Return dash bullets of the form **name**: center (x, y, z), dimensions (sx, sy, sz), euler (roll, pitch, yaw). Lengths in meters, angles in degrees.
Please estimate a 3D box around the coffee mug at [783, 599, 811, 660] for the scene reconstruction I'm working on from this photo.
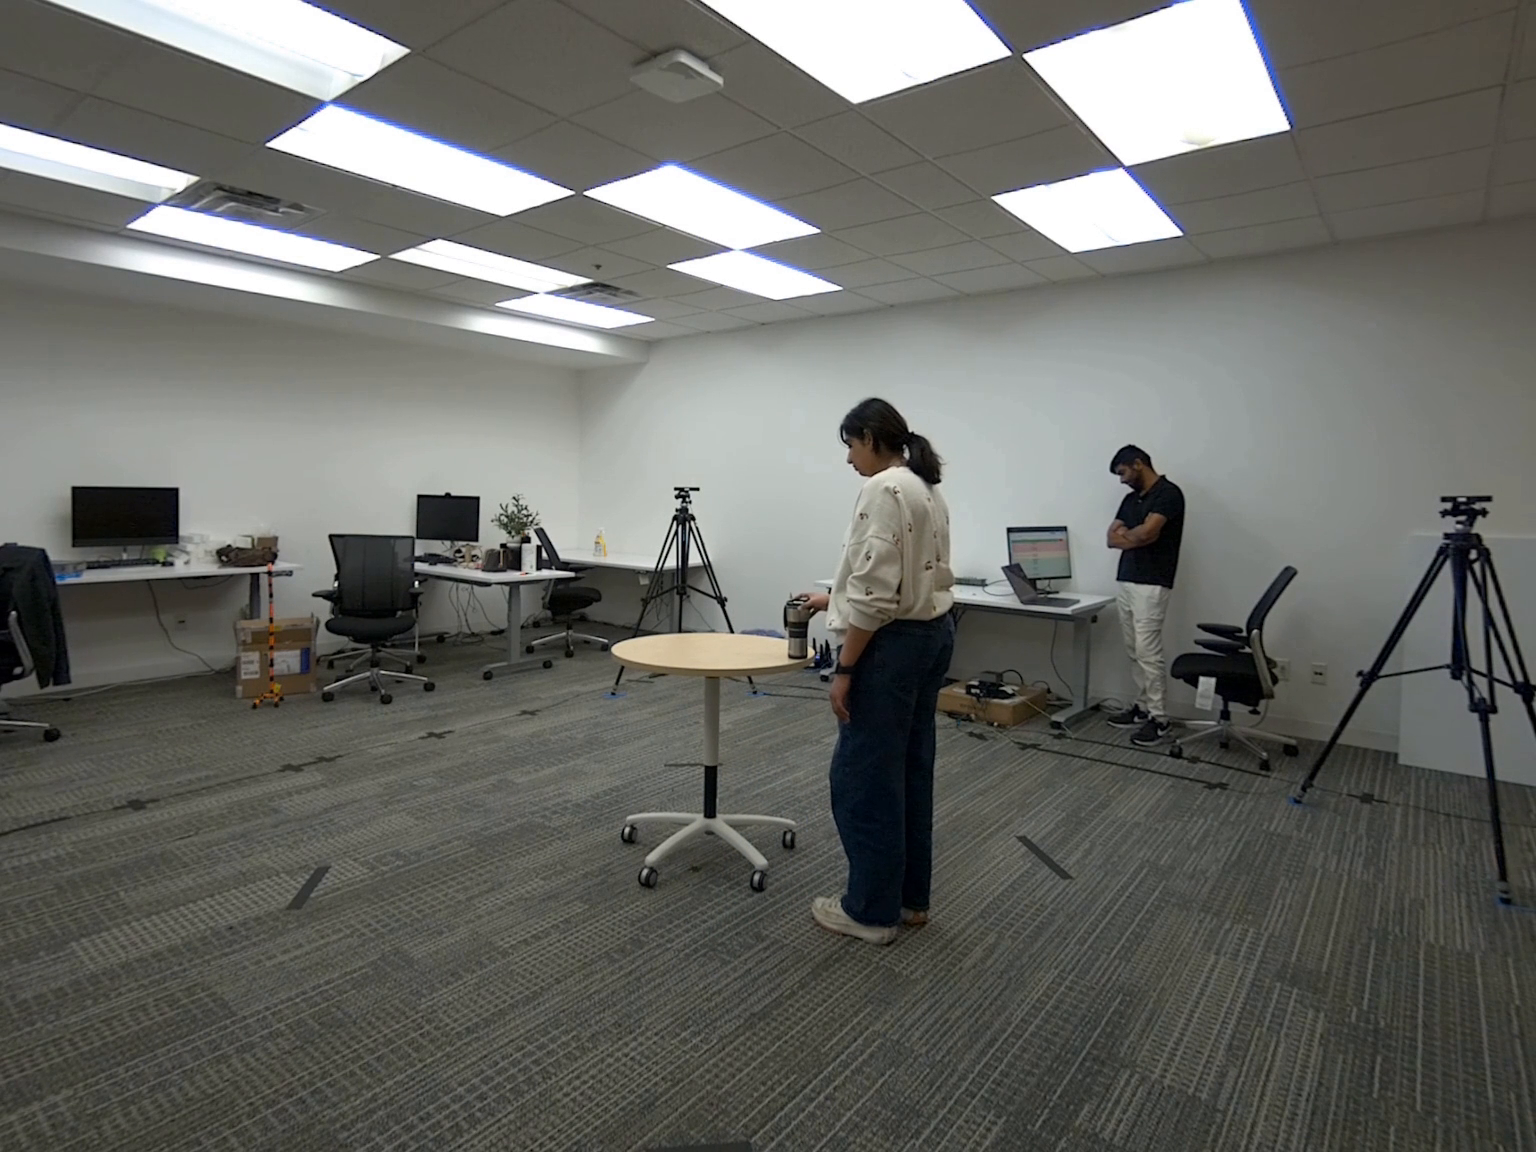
- **coffee mug**: center (0.101, 0.186, 3.077), dimensions (0.087, 0.202, 0.124), euler (-2, 5, -14)
